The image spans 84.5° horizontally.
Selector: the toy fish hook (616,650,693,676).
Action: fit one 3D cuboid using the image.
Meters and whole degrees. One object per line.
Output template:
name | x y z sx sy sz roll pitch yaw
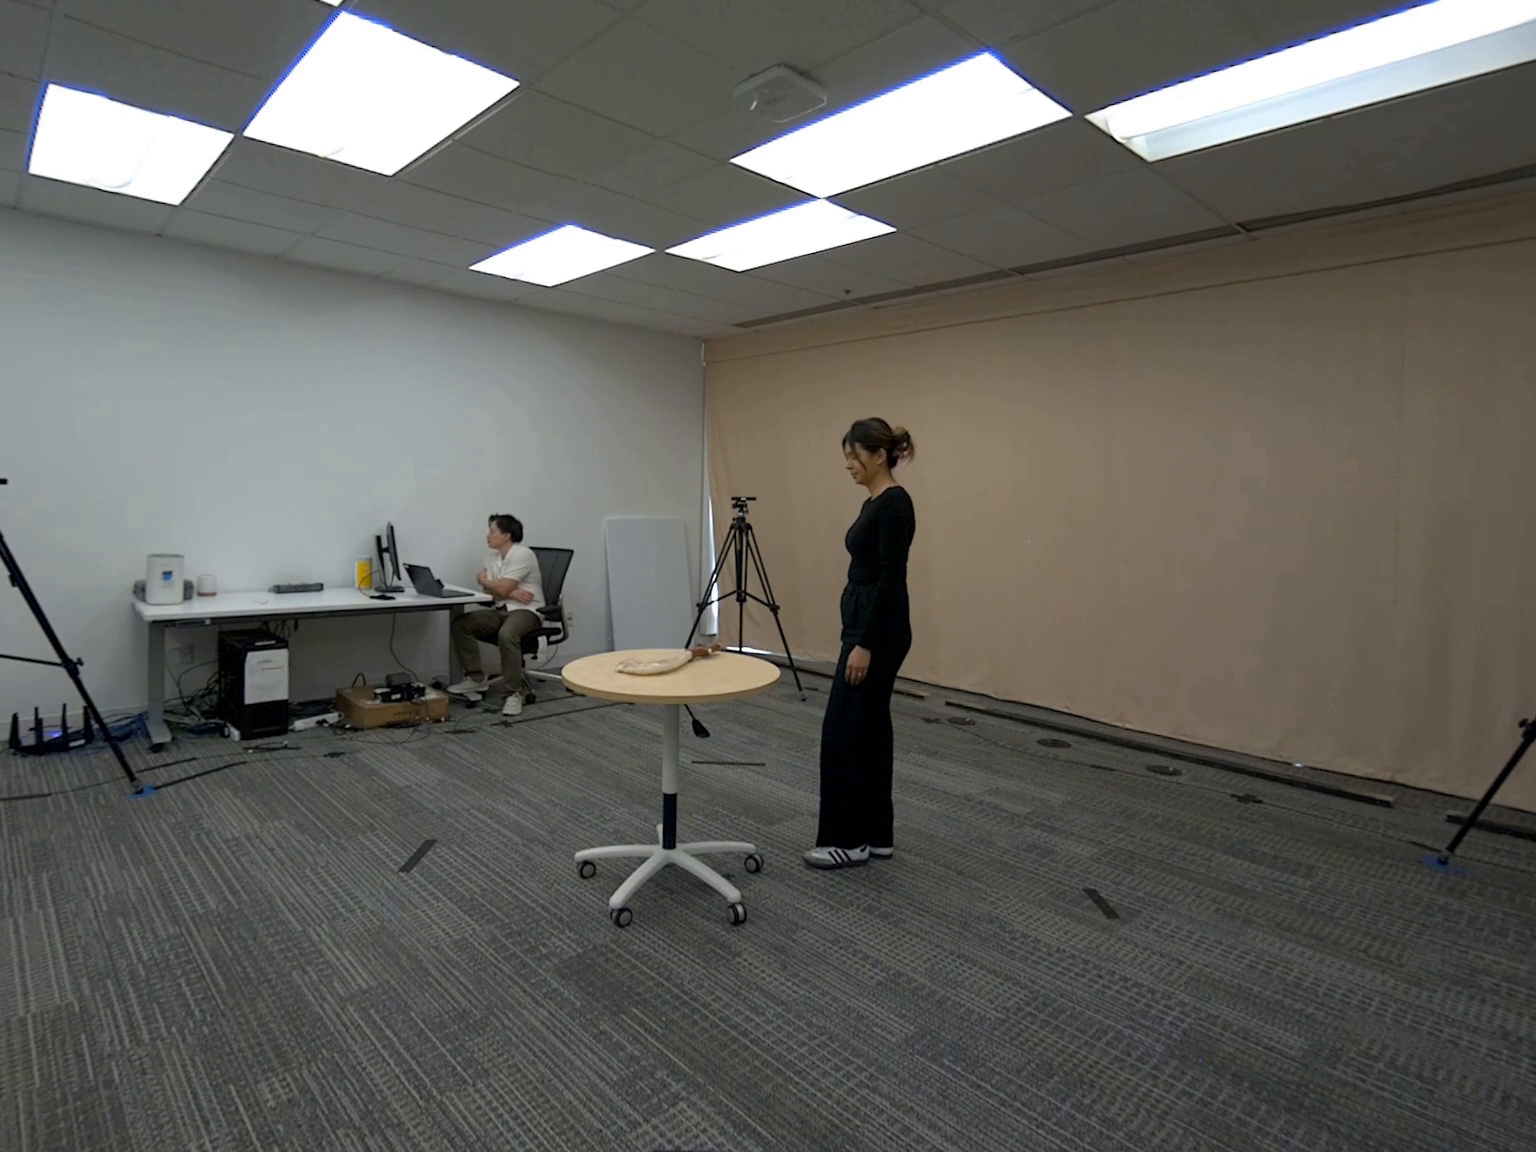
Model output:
toy fish hook | -0.391 0.300 3.082 0.229 0.048 0.498 7 9 27
